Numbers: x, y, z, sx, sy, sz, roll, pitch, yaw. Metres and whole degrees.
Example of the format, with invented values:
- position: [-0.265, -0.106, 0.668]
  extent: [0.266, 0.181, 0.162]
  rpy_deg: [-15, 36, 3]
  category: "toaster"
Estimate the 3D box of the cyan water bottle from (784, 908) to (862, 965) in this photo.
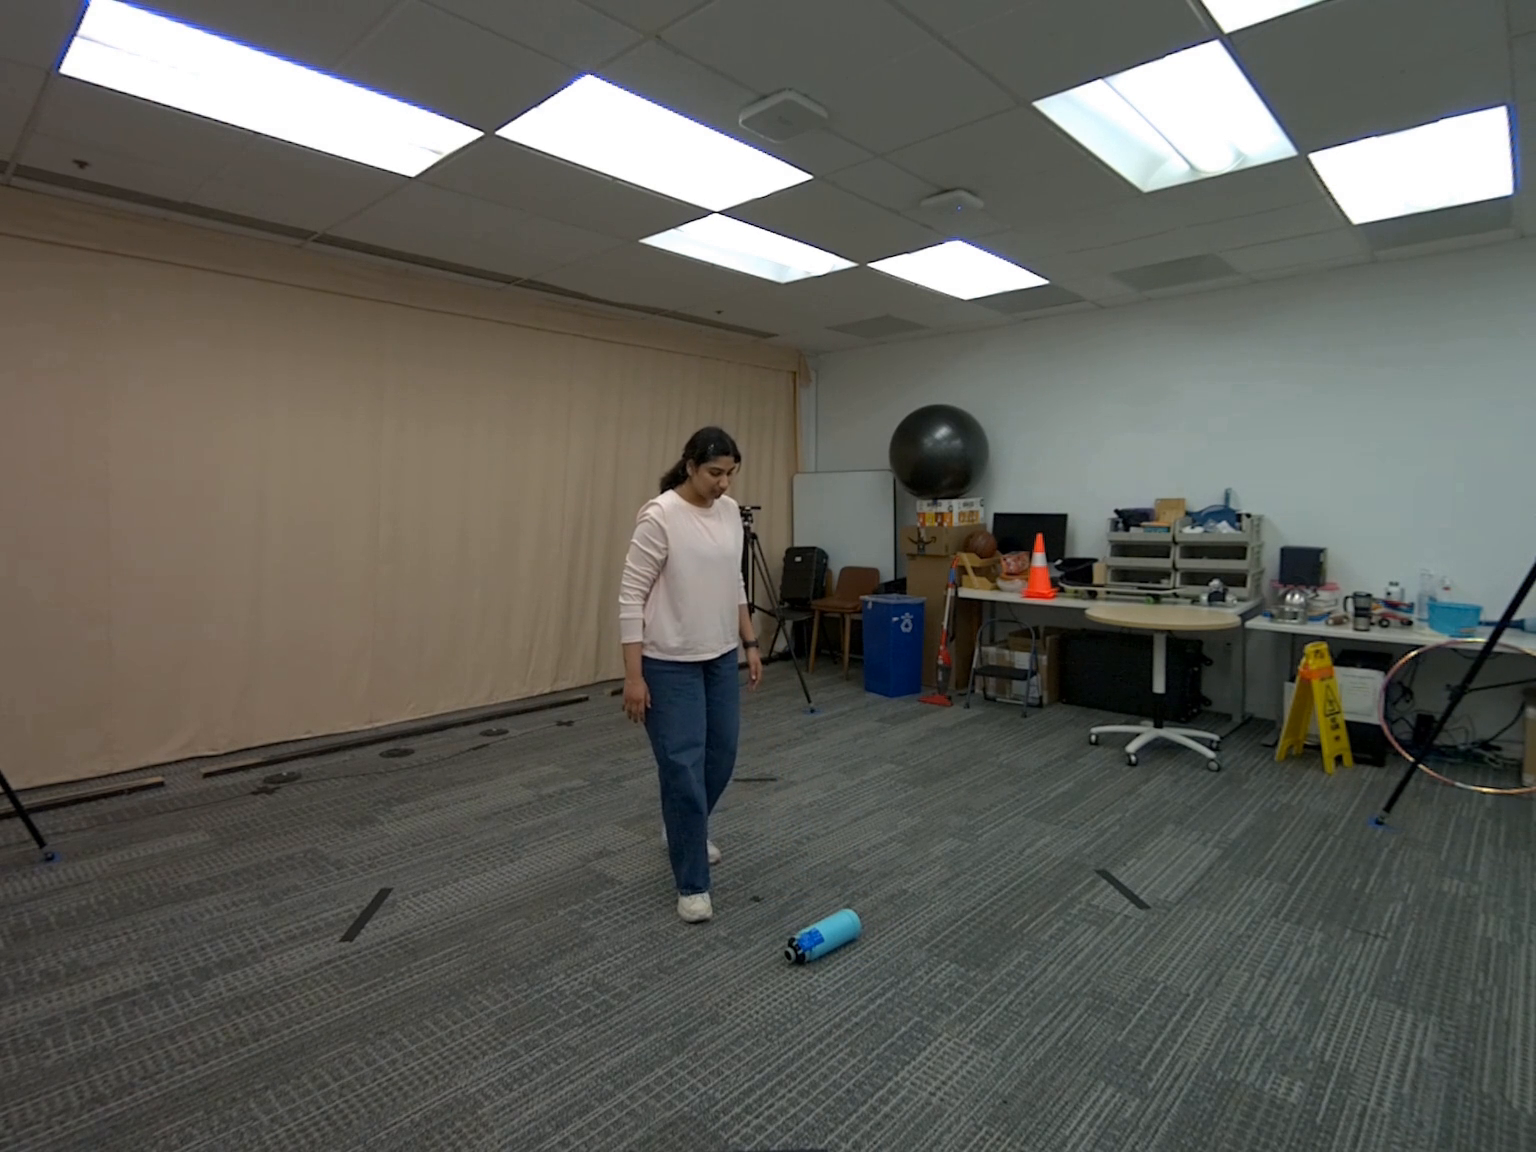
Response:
- position: [0.175, 1.127, 2.627]
  extent: [0.275, 0.092, 0.095]
  rpy_deg: [-4, 5, -42]
  category: "cyan water bottle"
